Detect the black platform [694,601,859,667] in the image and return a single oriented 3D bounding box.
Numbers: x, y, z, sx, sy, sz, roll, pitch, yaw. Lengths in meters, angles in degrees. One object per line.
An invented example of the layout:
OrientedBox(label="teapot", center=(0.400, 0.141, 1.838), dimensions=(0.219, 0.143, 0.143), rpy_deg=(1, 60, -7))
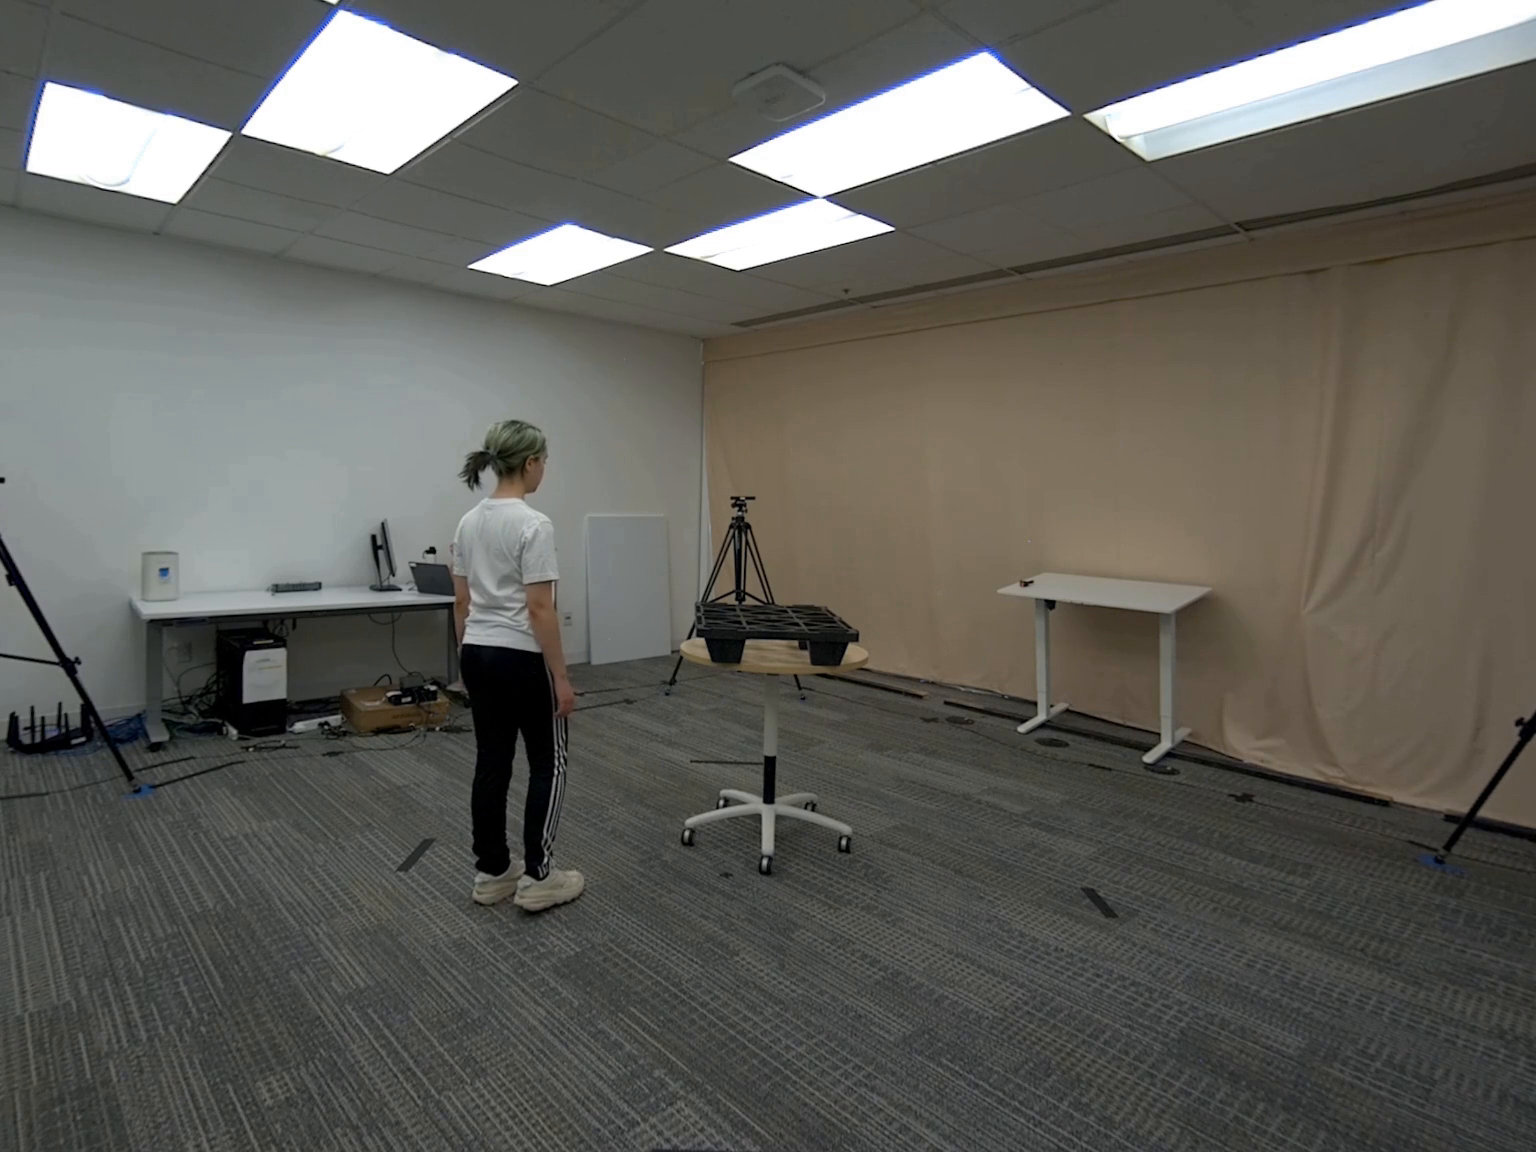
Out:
OrientedBox(label="black platform", center=(-0.008, 0.230, 3.454), dimensions=(0.603, 0.143, 0.811), rpy_deg=(3, 5, -5))
